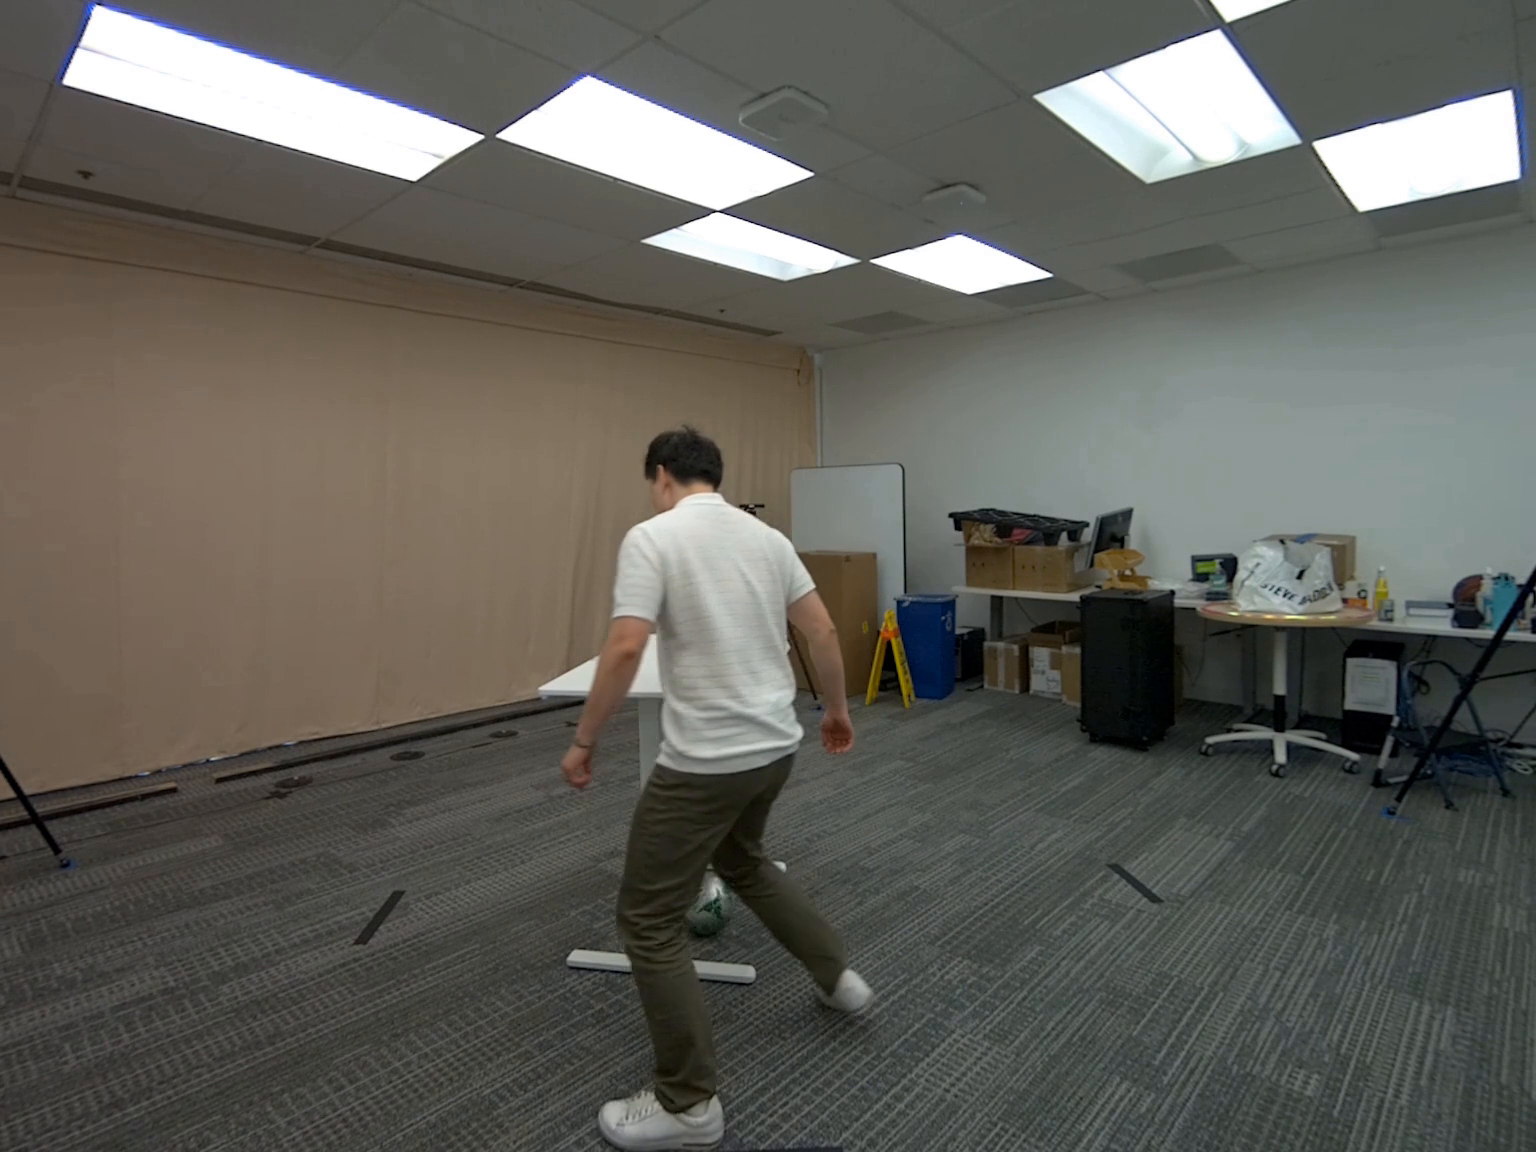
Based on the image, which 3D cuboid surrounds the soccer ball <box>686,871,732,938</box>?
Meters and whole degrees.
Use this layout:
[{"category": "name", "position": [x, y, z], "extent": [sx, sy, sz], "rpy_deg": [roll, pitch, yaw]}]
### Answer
[{"category": "soccer ball", "position": [-0.196, 1.067, 2.745], "extent": [0.187, 0.187, 0.188], "rpy_deg": [-1, 4, -2]}]
